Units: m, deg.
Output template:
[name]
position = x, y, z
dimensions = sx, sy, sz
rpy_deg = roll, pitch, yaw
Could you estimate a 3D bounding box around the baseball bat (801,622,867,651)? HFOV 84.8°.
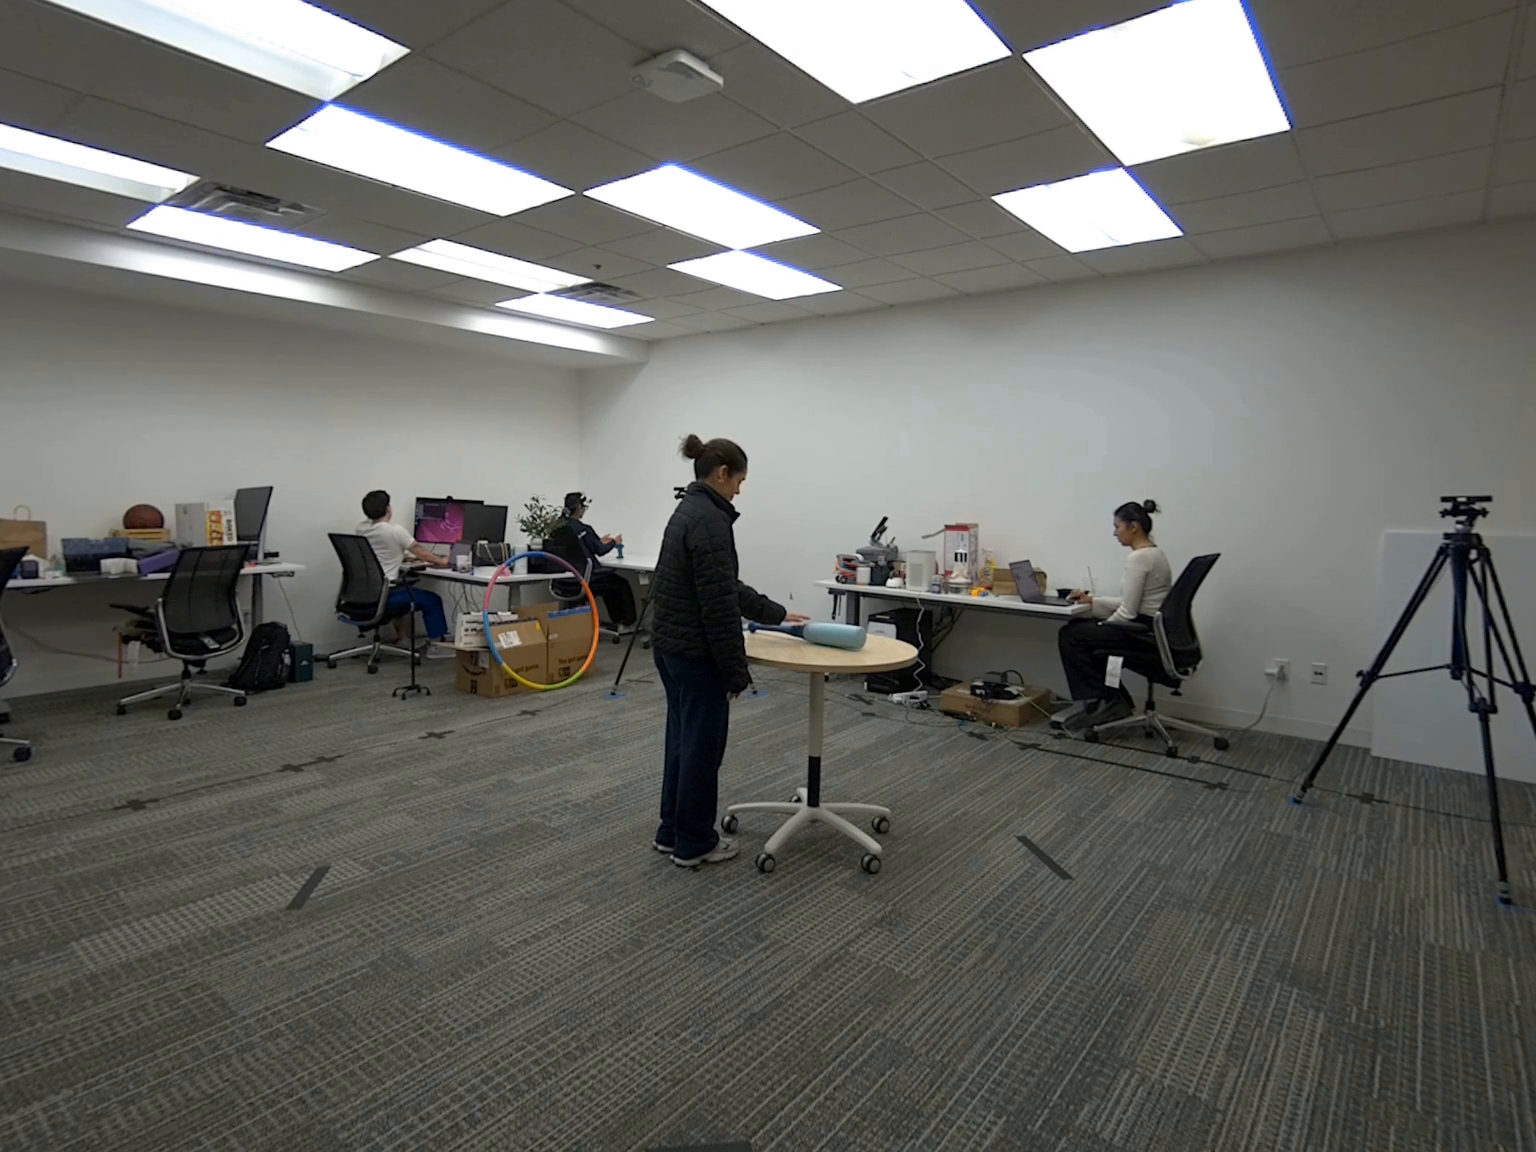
[baseball bat]
position = 0.153, 0.222, 3.406
dimensions = 0.561, 0.089, 0.086
rpy_deg = 3, 4, 40
